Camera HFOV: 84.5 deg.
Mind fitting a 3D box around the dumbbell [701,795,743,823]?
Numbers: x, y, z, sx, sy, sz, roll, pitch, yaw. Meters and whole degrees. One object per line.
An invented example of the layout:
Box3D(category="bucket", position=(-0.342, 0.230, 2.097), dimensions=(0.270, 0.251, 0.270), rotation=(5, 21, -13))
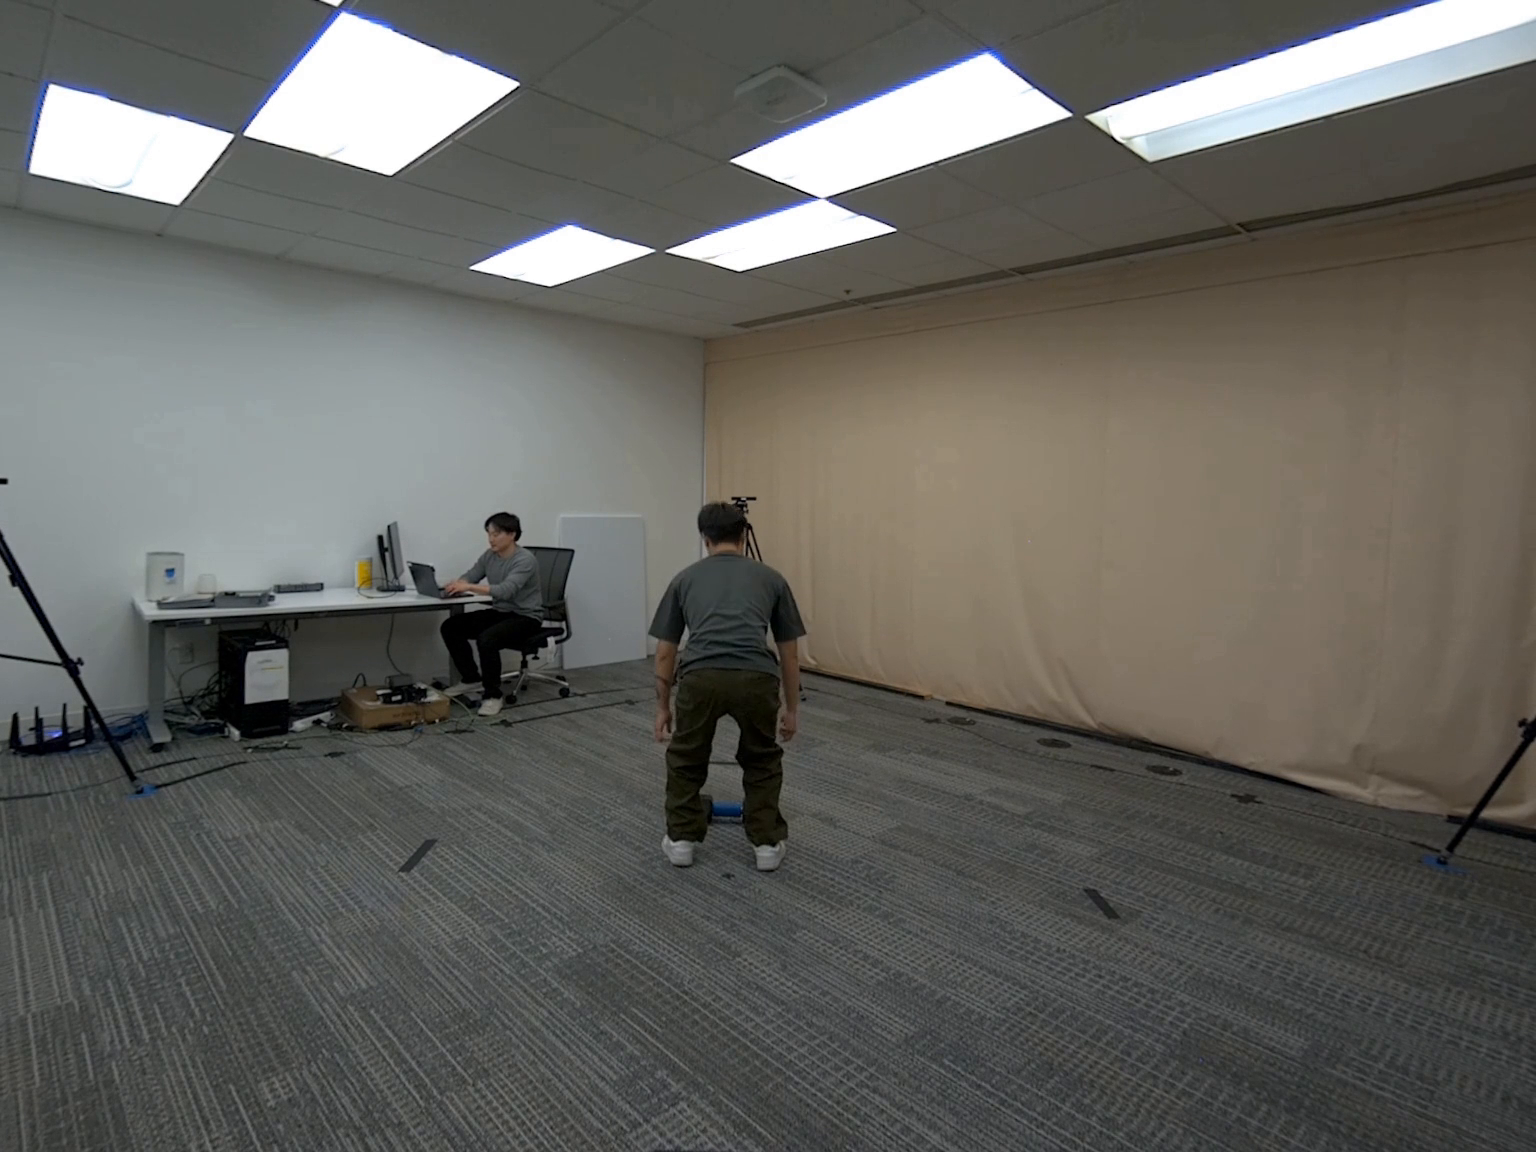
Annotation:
Box3D(category="dumbbell", position=(-0.184, 1.013, 3.634), dimensions=(0.294, 0.120, 0.110), rotation=(2, 33, 2))
